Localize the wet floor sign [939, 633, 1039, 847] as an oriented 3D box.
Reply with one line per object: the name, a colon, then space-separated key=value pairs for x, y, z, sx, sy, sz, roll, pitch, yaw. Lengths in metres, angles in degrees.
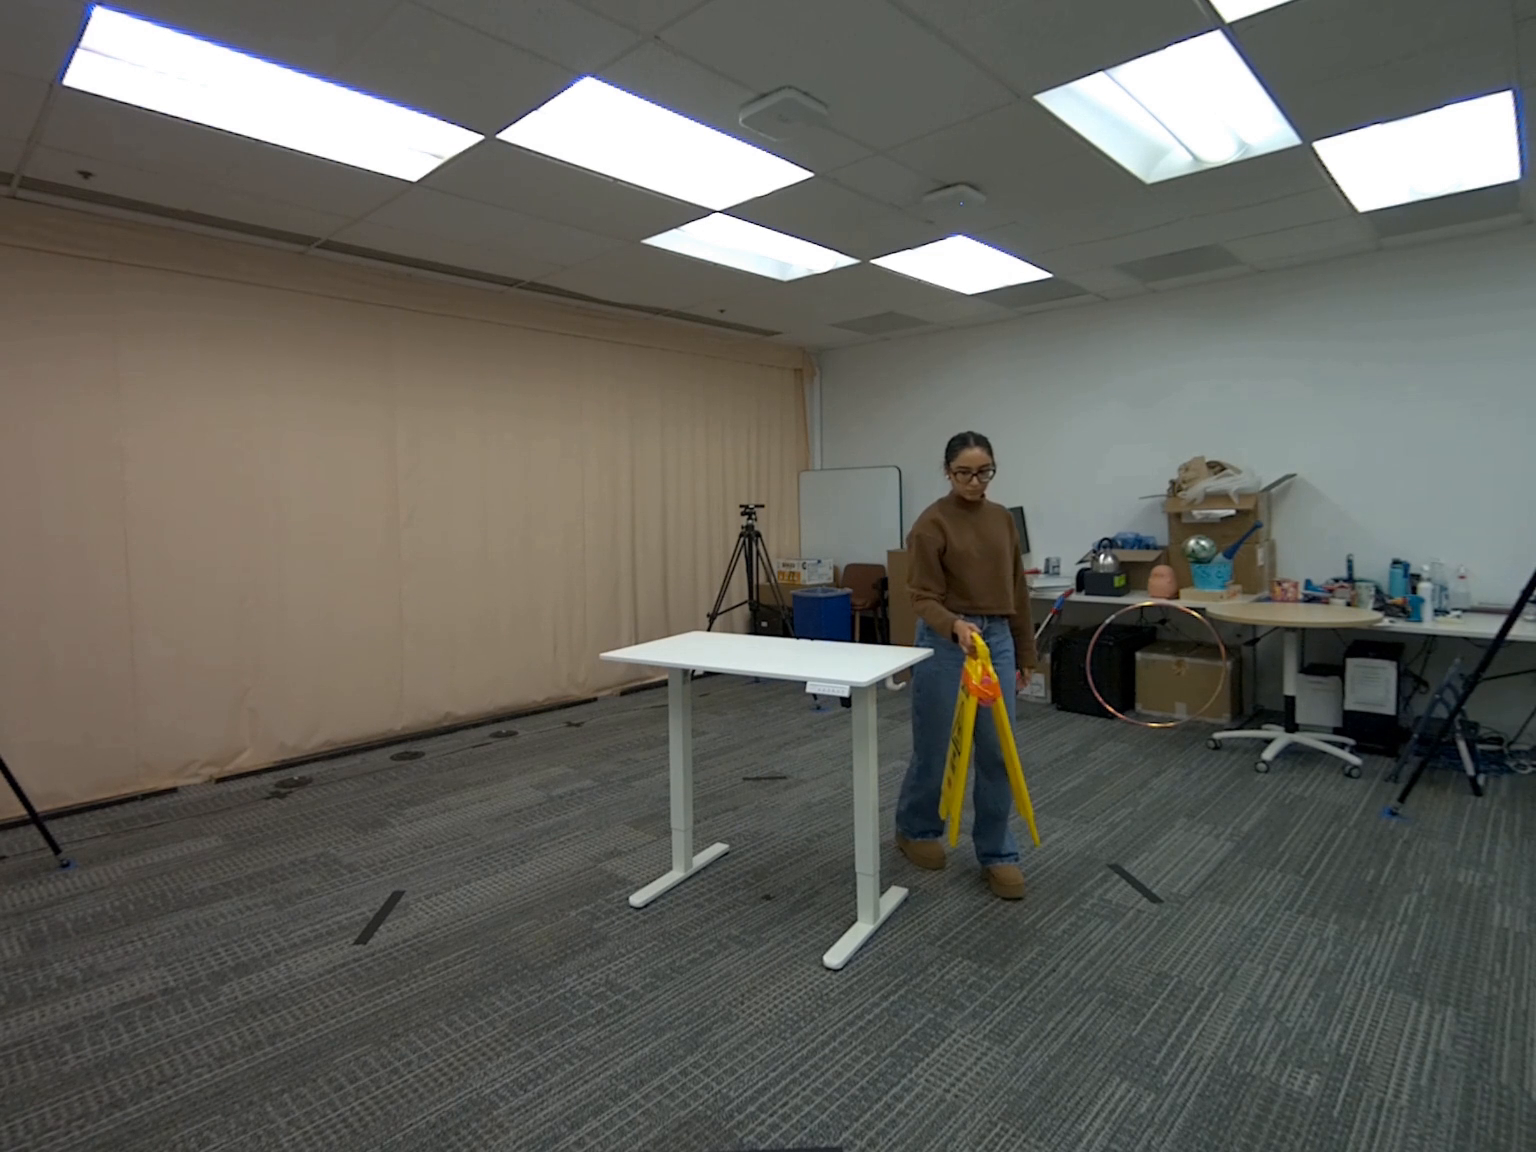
wet floor sign: x=0.701 y=0.518 z=2.742 sx=0.291 sy=0.643 sz=0.282 roll=-4 pitch=7 yaw=3
